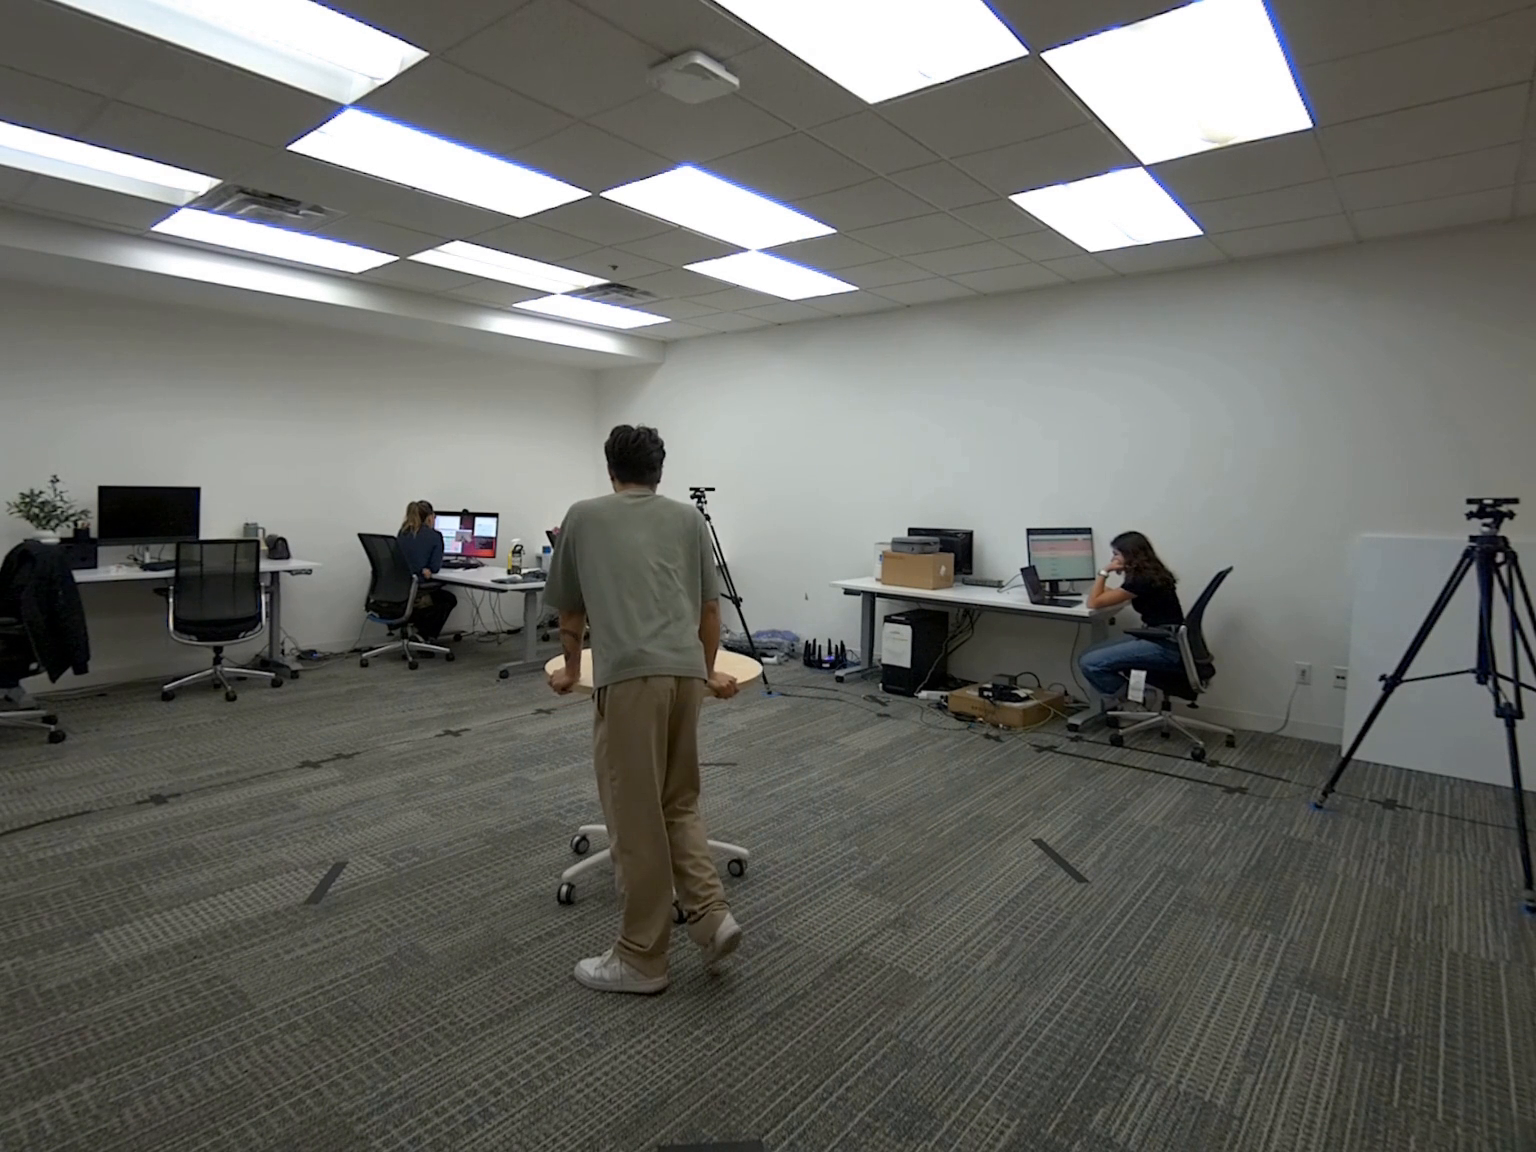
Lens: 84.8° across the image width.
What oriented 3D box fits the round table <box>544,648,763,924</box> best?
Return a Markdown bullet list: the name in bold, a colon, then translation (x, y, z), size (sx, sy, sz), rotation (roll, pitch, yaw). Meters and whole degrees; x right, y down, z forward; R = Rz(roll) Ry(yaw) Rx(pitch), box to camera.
- **round table**: translation (-0.408, 0.688, 3.030), size (0.784, 0.784, 0.789), rotation (1, 4, -2)
